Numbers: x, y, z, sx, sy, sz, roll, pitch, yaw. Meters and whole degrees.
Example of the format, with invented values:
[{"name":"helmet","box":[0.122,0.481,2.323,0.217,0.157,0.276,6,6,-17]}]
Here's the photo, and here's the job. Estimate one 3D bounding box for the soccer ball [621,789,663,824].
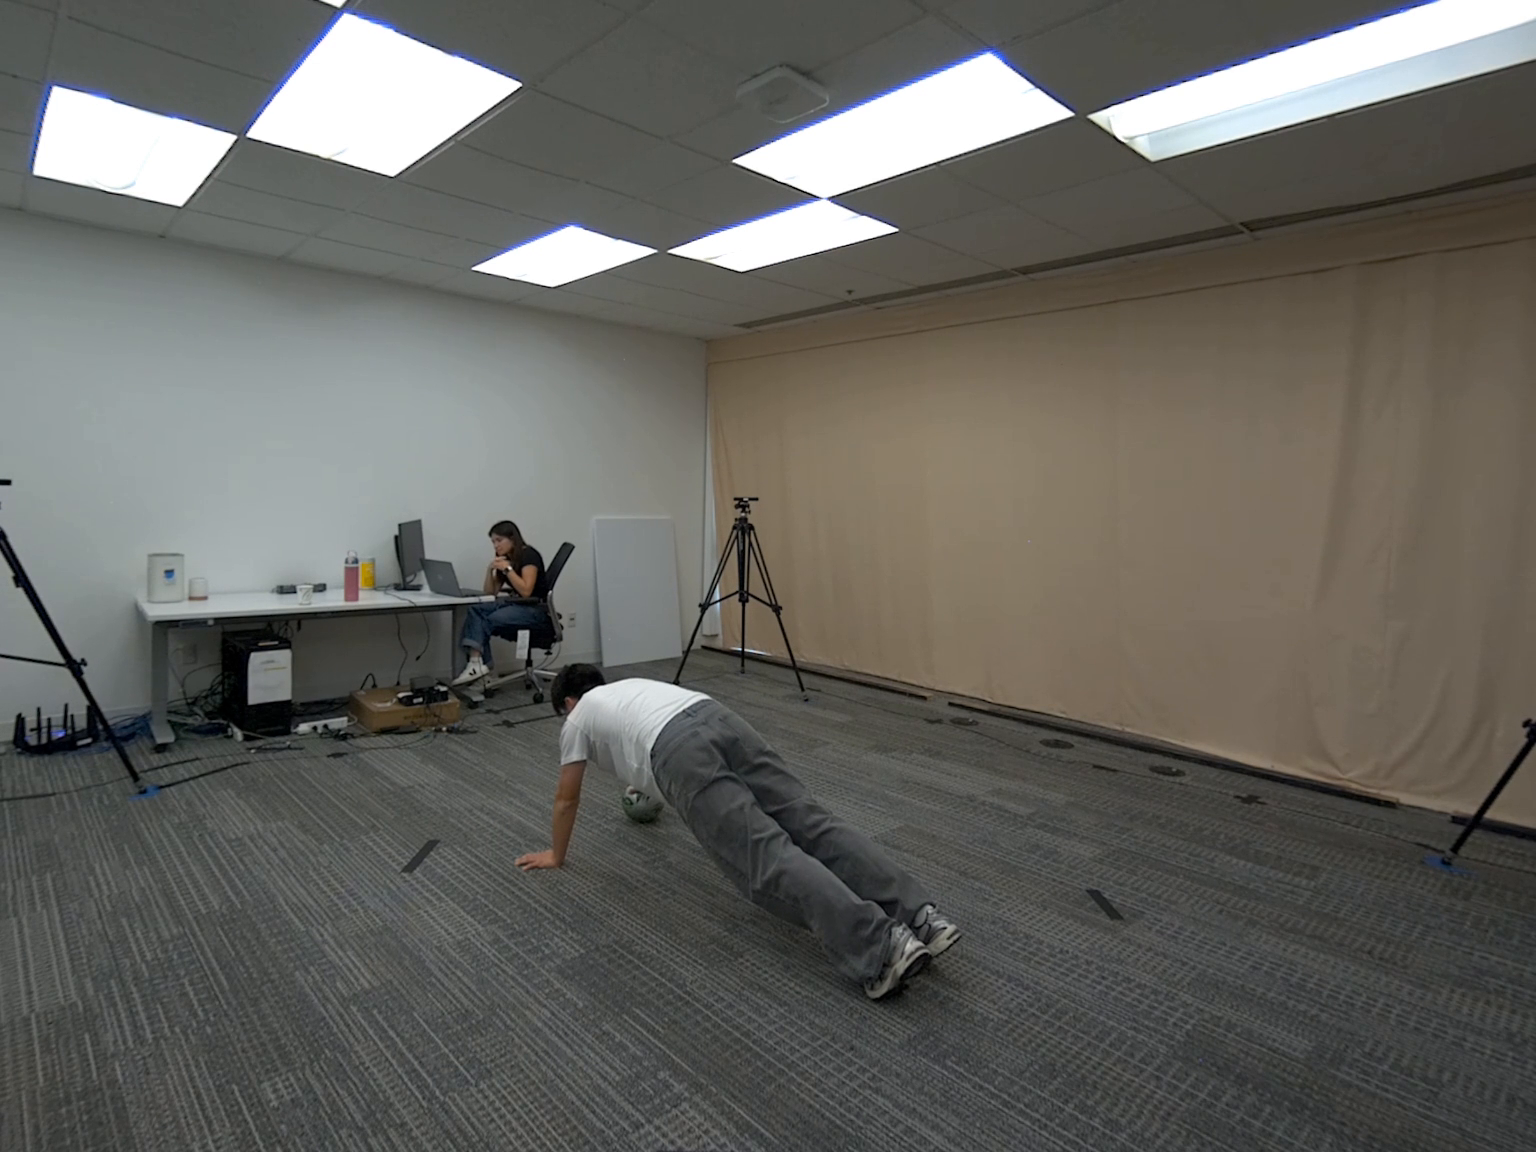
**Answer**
[{"name":"soccer ball","box":[-0.547,0.966,3.621,0.187,0.187,0.188,1,4,-1]}]
